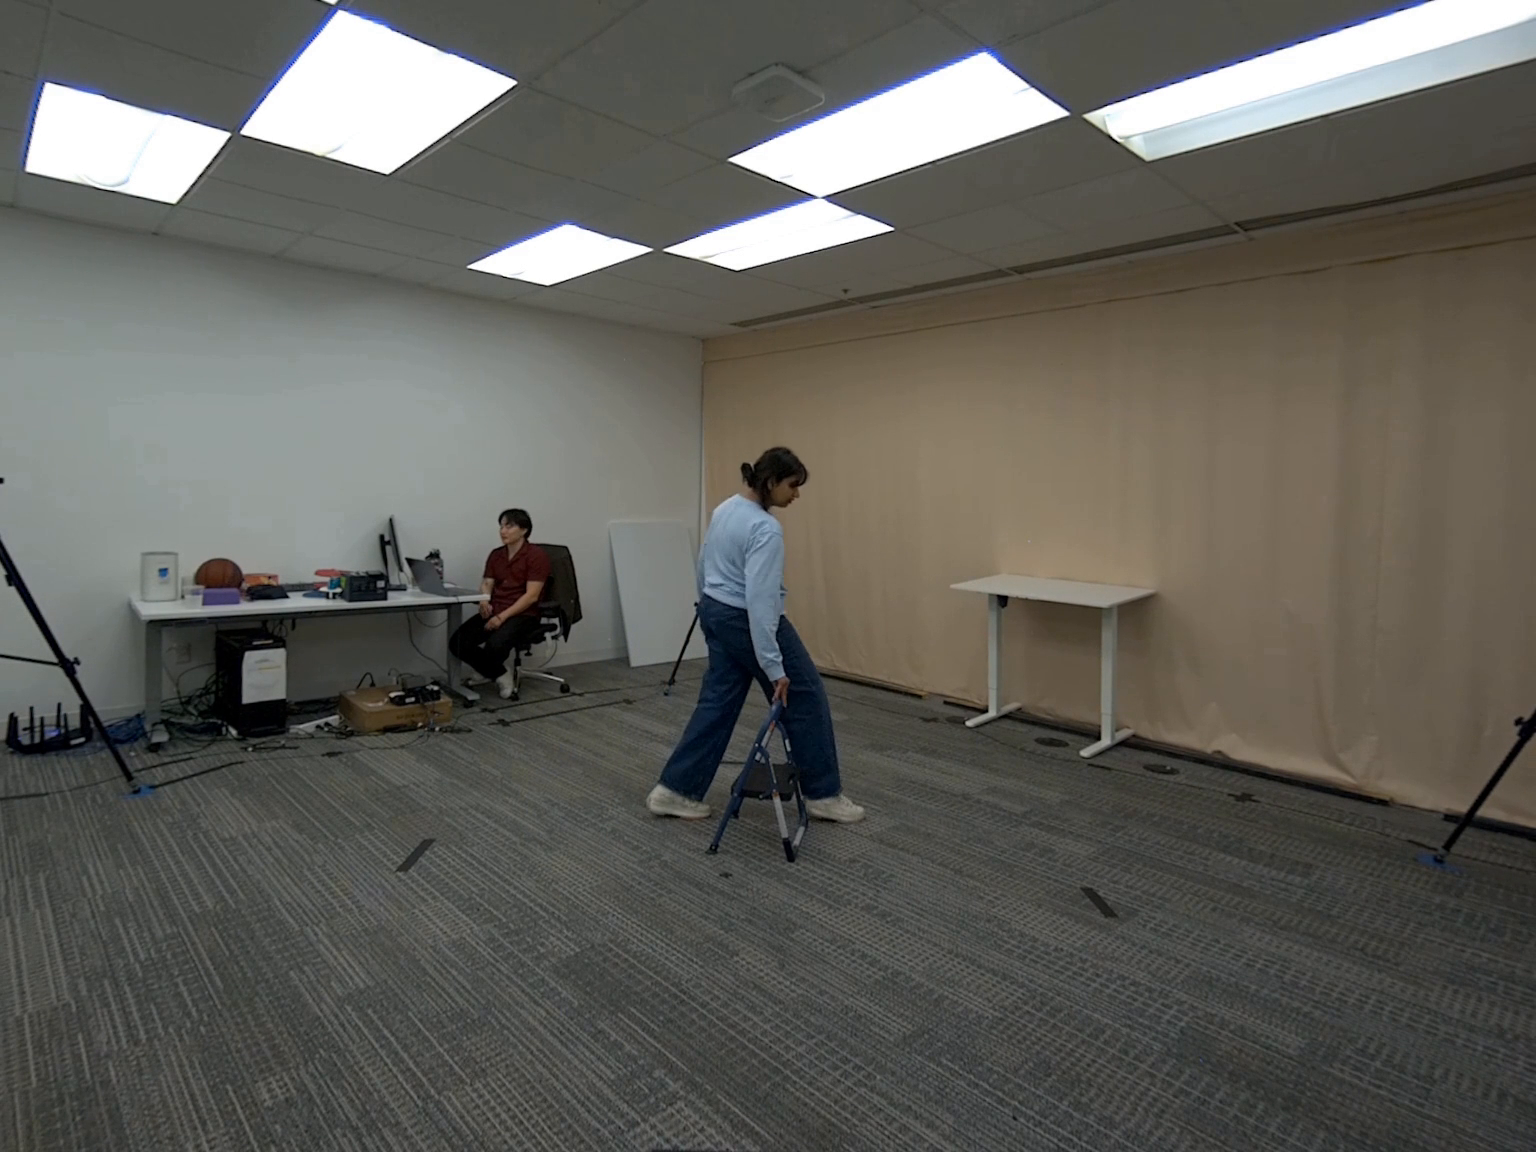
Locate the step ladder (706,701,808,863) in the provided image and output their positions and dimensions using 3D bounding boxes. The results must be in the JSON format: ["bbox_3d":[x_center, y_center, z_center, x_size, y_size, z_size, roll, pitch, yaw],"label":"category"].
[{"bbox_3d":[-0.030,0.775,3.436,0.352,0.605,0.428,2,4,11],"label":"step ladder"}]
